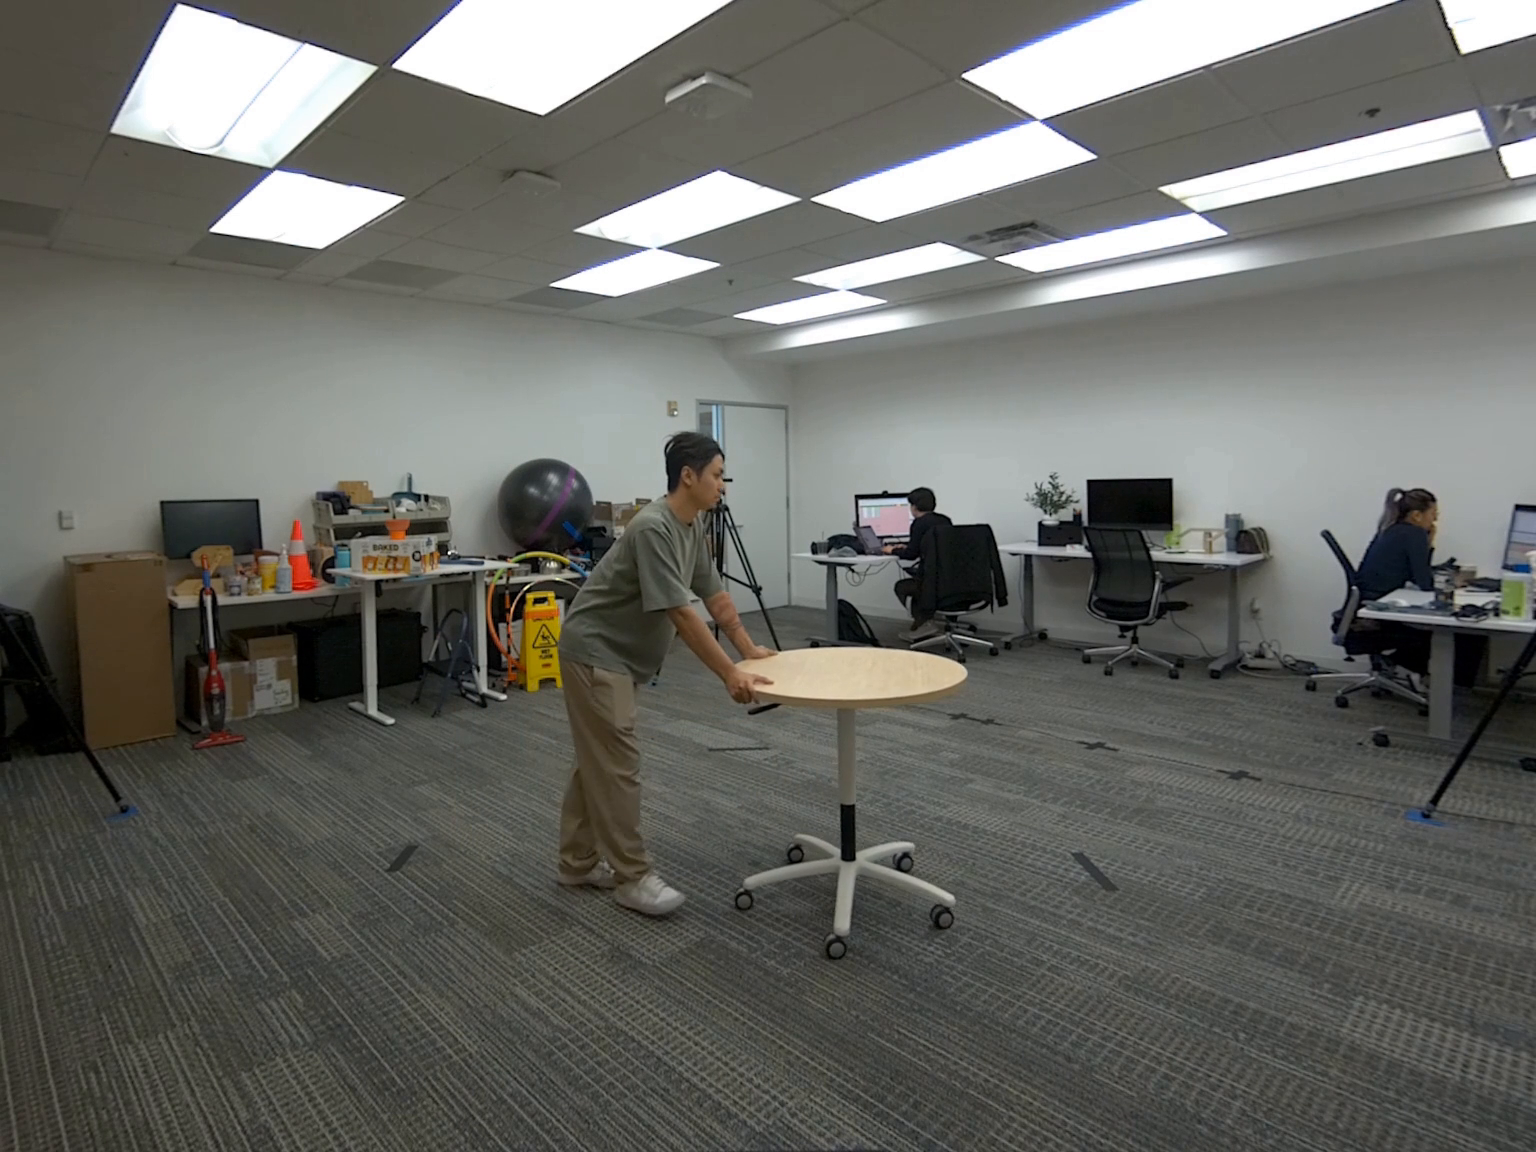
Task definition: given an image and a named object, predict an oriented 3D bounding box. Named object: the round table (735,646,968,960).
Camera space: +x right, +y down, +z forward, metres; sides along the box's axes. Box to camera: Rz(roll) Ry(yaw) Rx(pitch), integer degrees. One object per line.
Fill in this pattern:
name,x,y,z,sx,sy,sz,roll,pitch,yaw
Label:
round table,0.268,0.684,2.789,0.784,0.783,0.789,-2,5,-2
